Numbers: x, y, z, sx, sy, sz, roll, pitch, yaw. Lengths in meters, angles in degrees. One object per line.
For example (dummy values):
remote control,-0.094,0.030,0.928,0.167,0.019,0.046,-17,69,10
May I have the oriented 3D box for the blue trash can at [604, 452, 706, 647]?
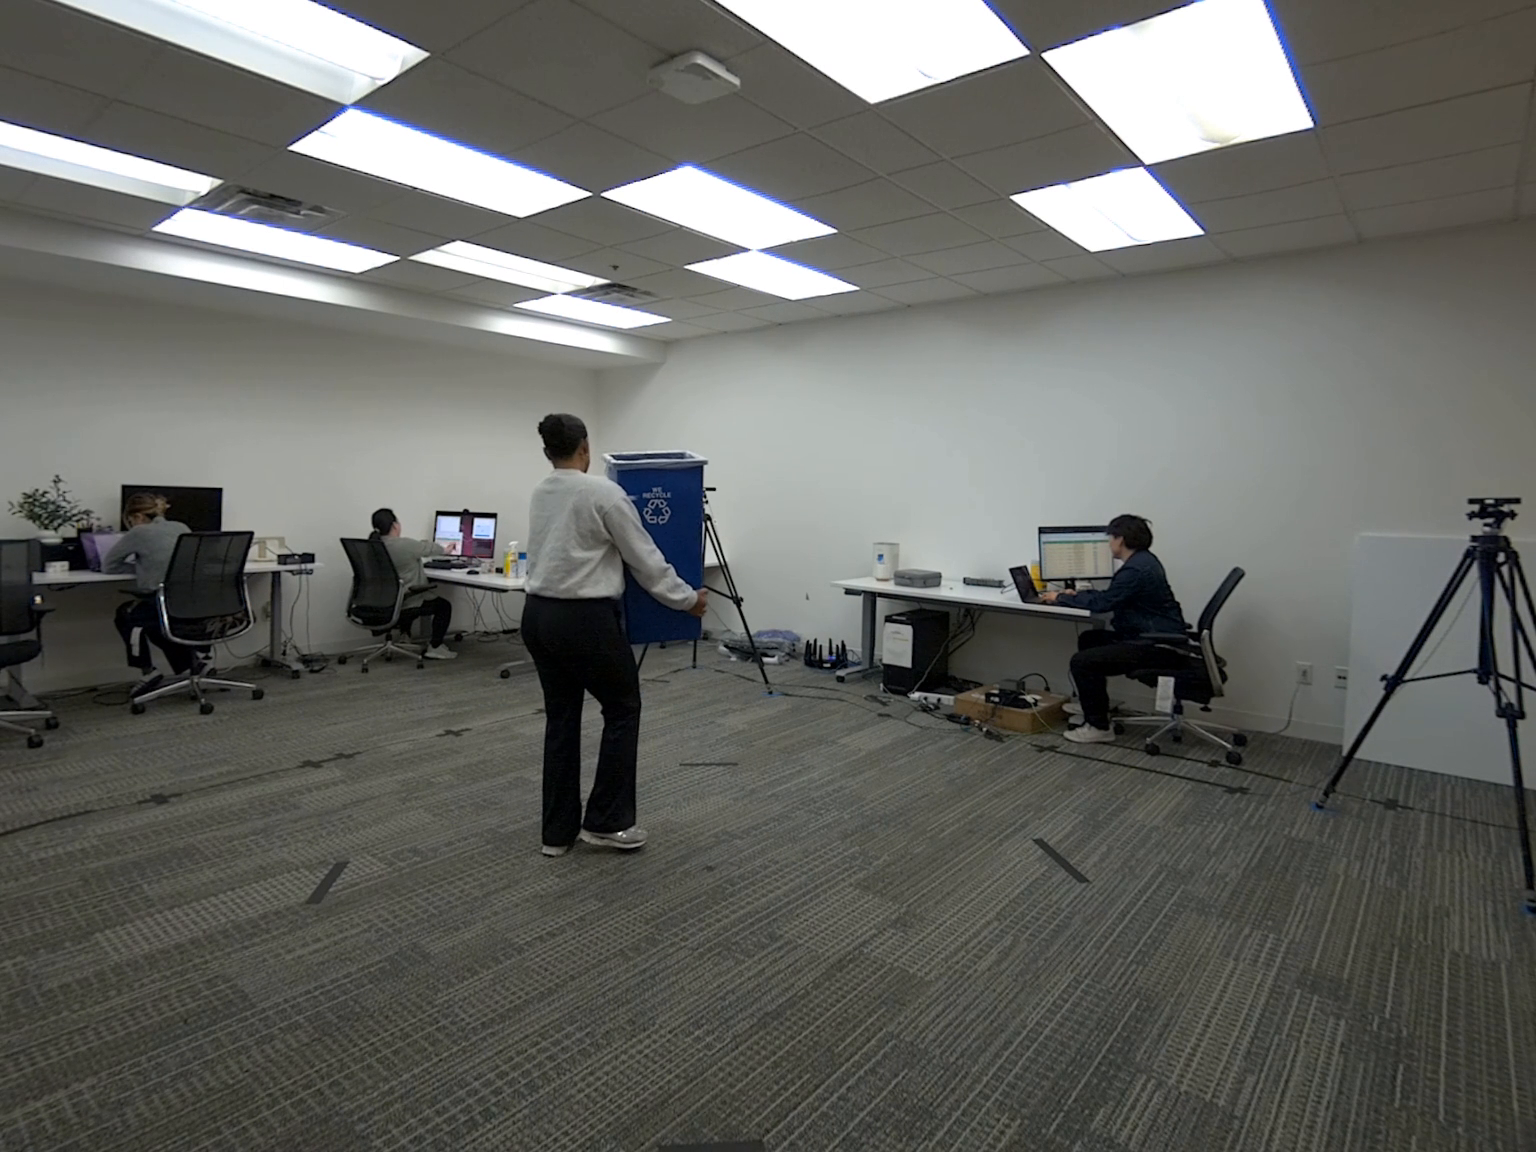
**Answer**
blue trash can,-0.456,-0.126,3.388,0.372,0.706,0.384,-3,11,-16
